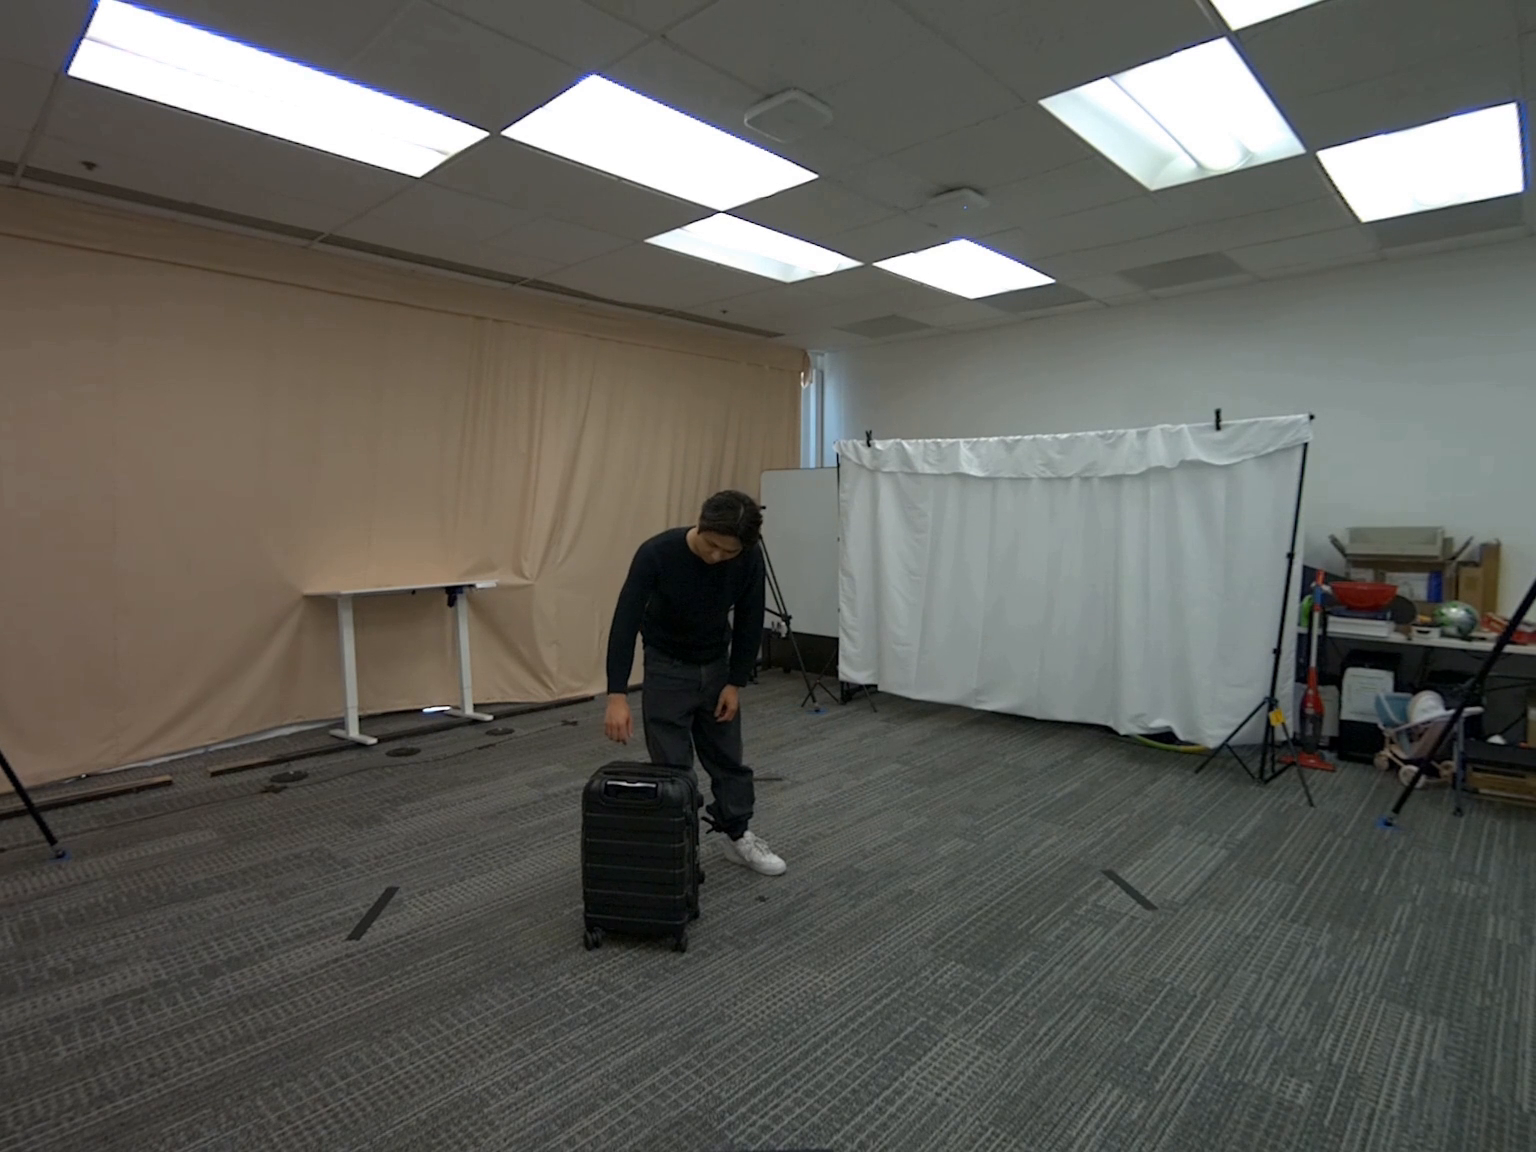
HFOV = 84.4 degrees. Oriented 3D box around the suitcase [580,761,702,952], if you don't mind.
[{"bbox_3d":[-0.410,0.884,2.747,0.380,0.548,0.245,-1,2,12],"label":"suitcase"}]
